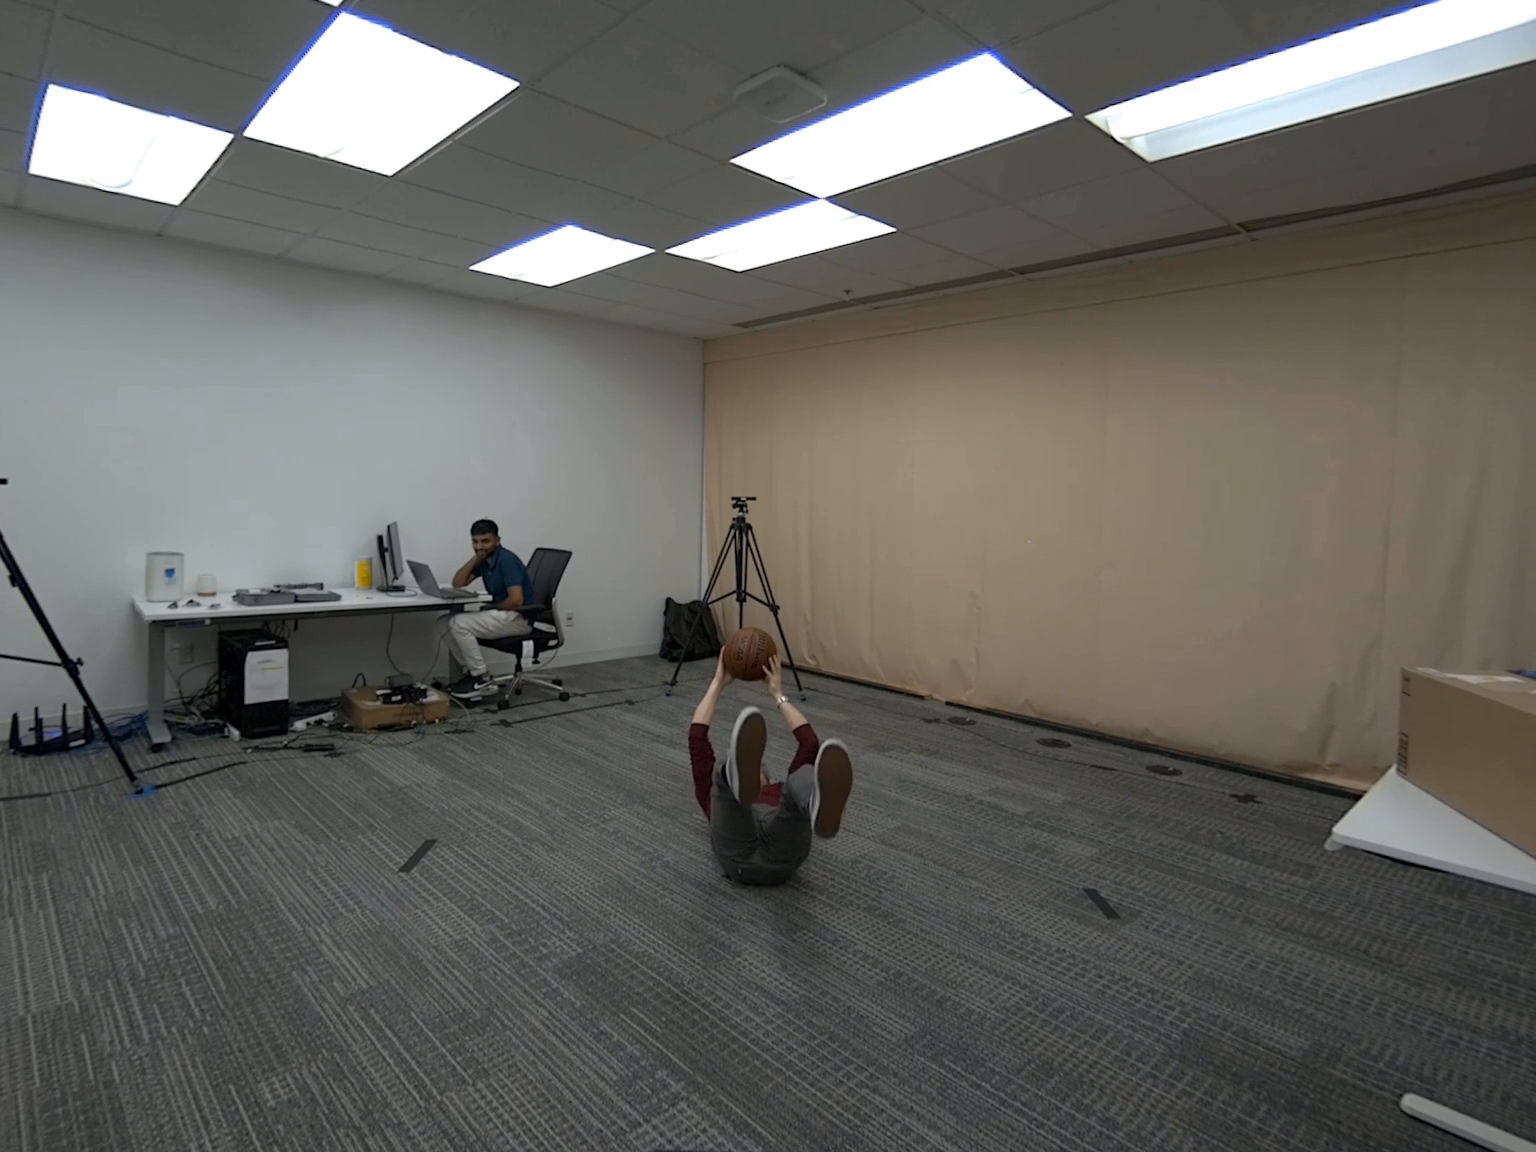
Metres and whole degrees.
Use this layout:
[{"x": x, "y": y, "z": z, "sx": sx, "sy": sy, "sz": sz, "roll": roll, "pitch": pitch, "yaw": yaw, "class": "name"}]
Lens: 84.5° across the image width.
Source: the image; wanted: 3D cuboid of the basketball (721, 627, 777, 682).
[{"x": -0.089, "y": 0.347, "z": 3.735, "sx": 0.236, "sy": 0.235, "sz": 0.237, "roll": 1, "pitch": 4, "yaw": -1, "class": "basketball"}]
